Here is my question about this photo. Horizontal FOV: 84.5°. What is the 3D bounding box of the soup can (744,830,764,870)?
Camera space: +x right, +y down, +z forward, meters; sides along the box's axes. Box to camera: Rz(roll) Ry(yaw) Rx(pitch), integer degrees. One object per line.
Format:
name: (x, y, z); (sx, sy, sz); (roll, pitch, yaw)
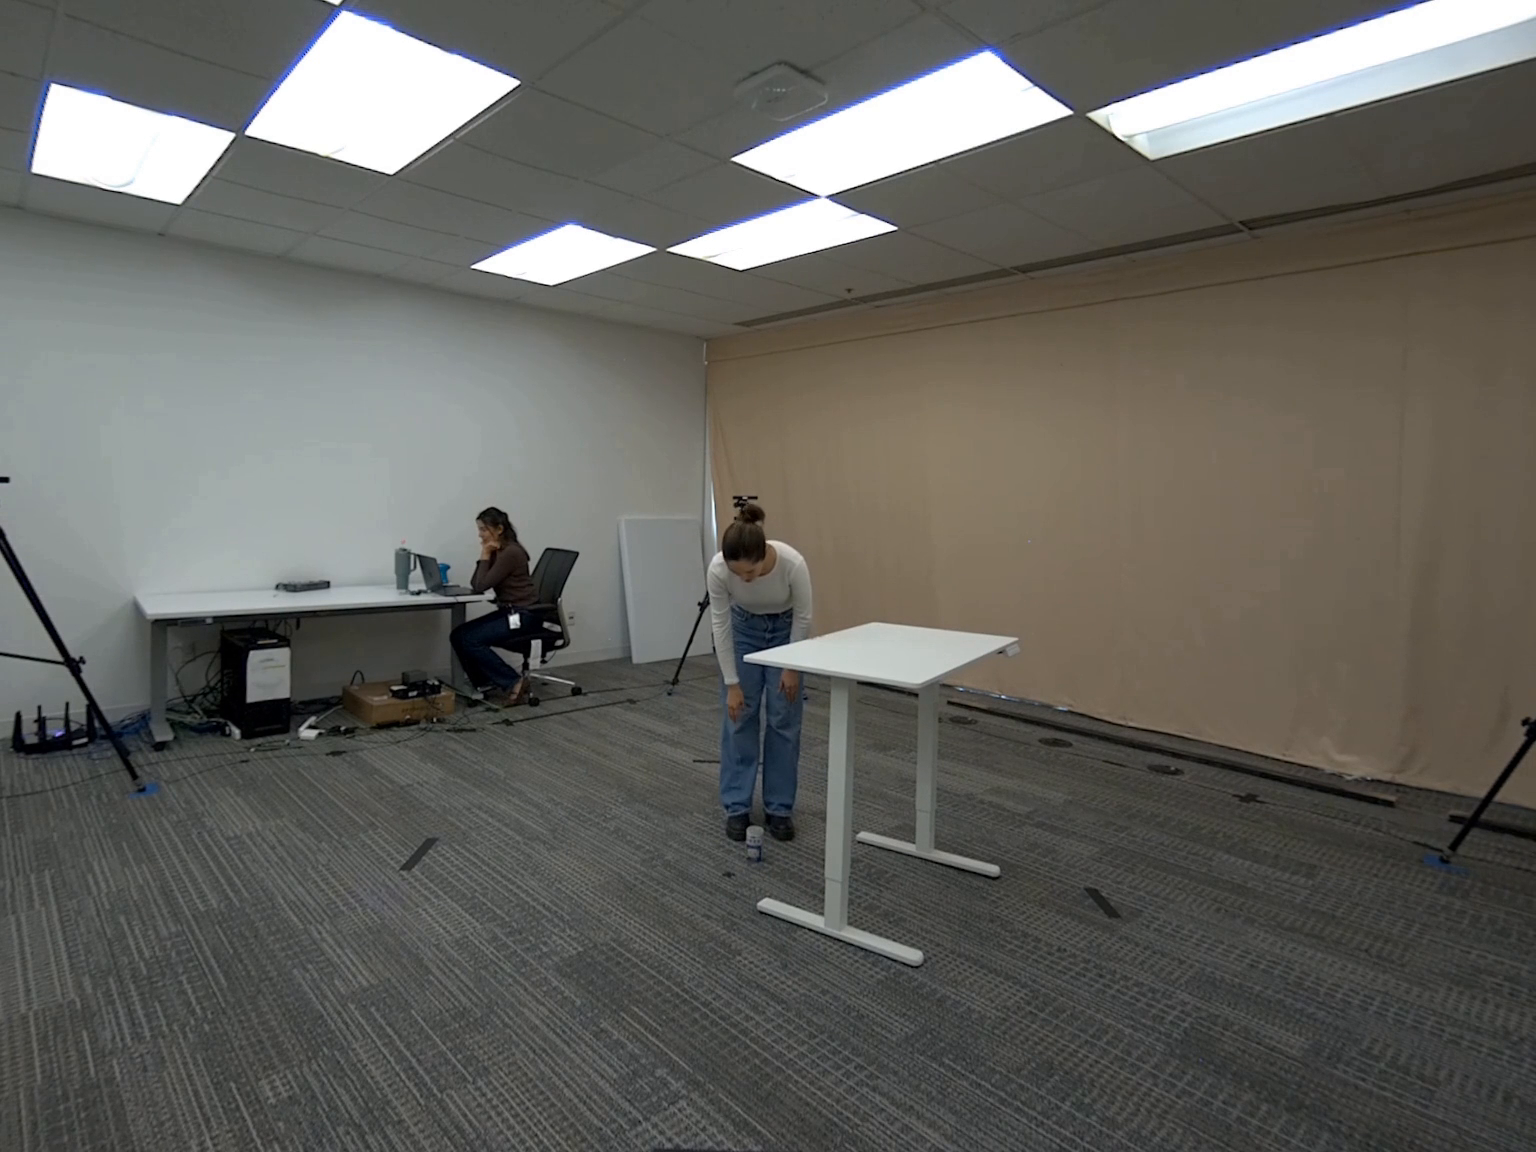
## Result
soup can: (-0.056, 1.044, 3.231); (0.067, 0.121, 0.067); (1, 4, -1)
